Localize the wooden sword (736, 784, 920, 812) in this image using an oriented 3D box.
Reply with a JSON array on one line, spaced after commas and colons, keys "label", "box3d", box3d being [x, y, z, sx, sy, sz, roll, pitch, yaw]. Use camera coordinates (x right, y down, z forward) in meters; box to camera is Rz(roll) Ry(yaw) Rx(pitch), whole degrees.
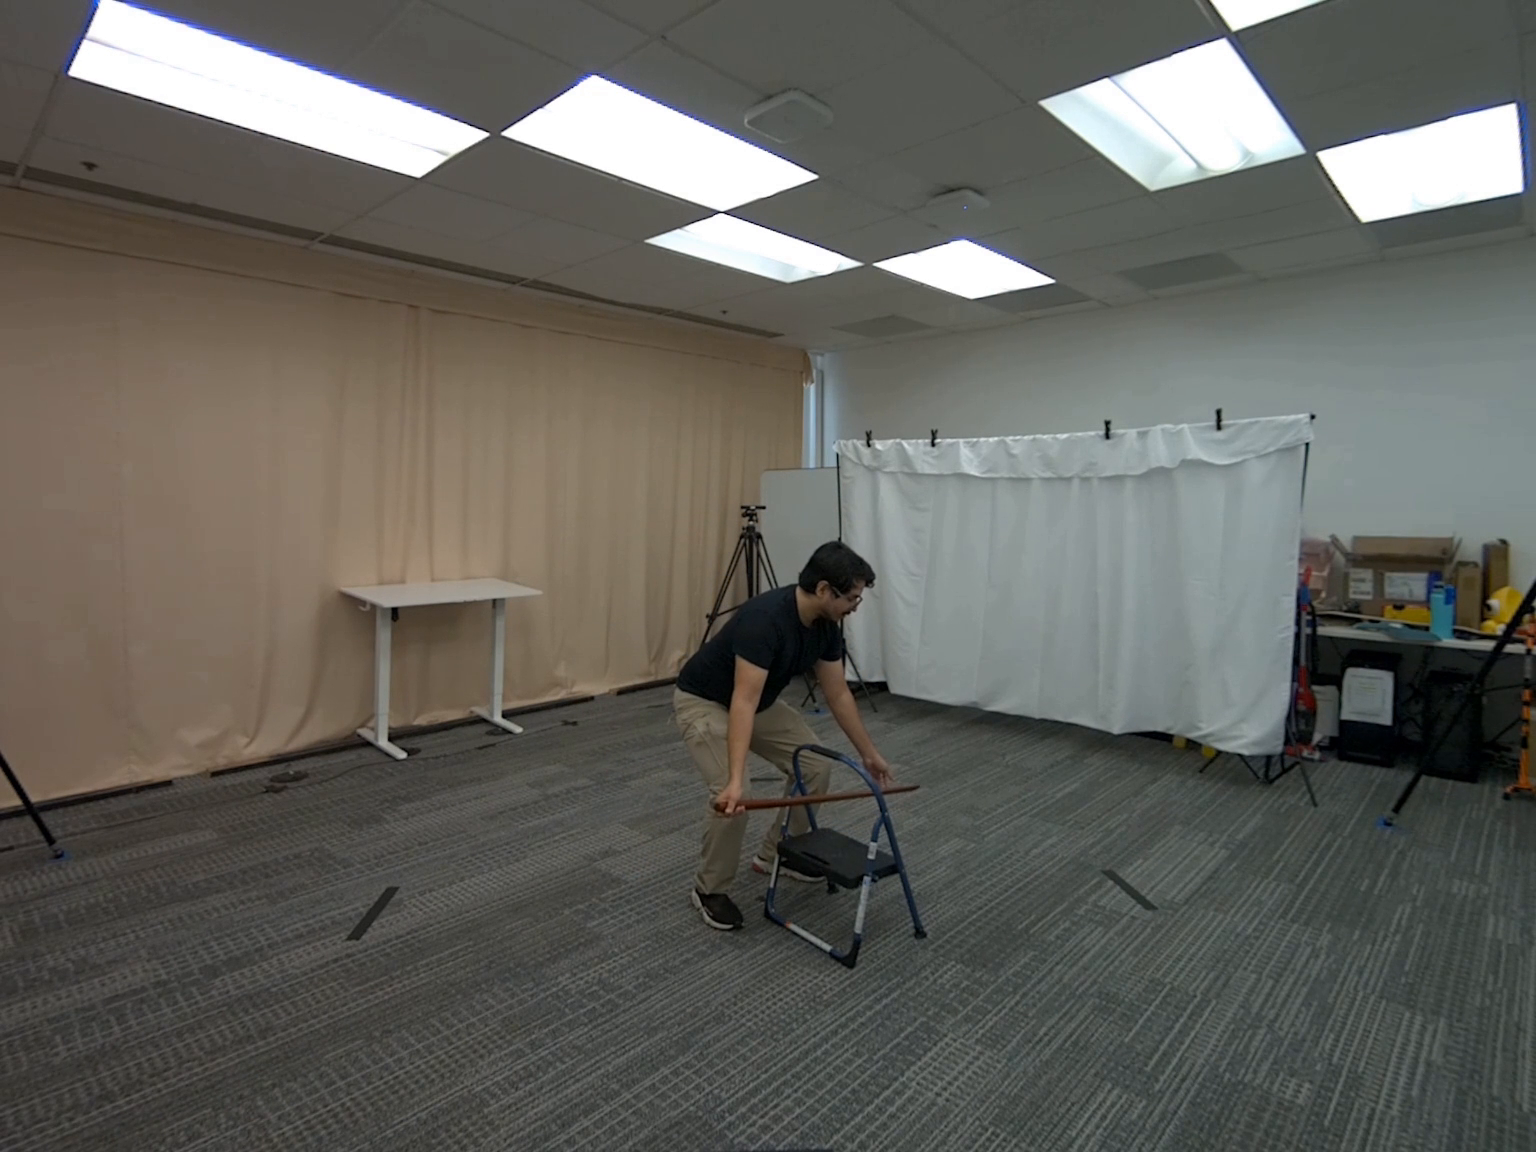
[{"label": "wooden sword", "box3d": [0.217, 0.735, 2.762, 0.990, 0.024, 0.053, 9, 11, -41]}]
